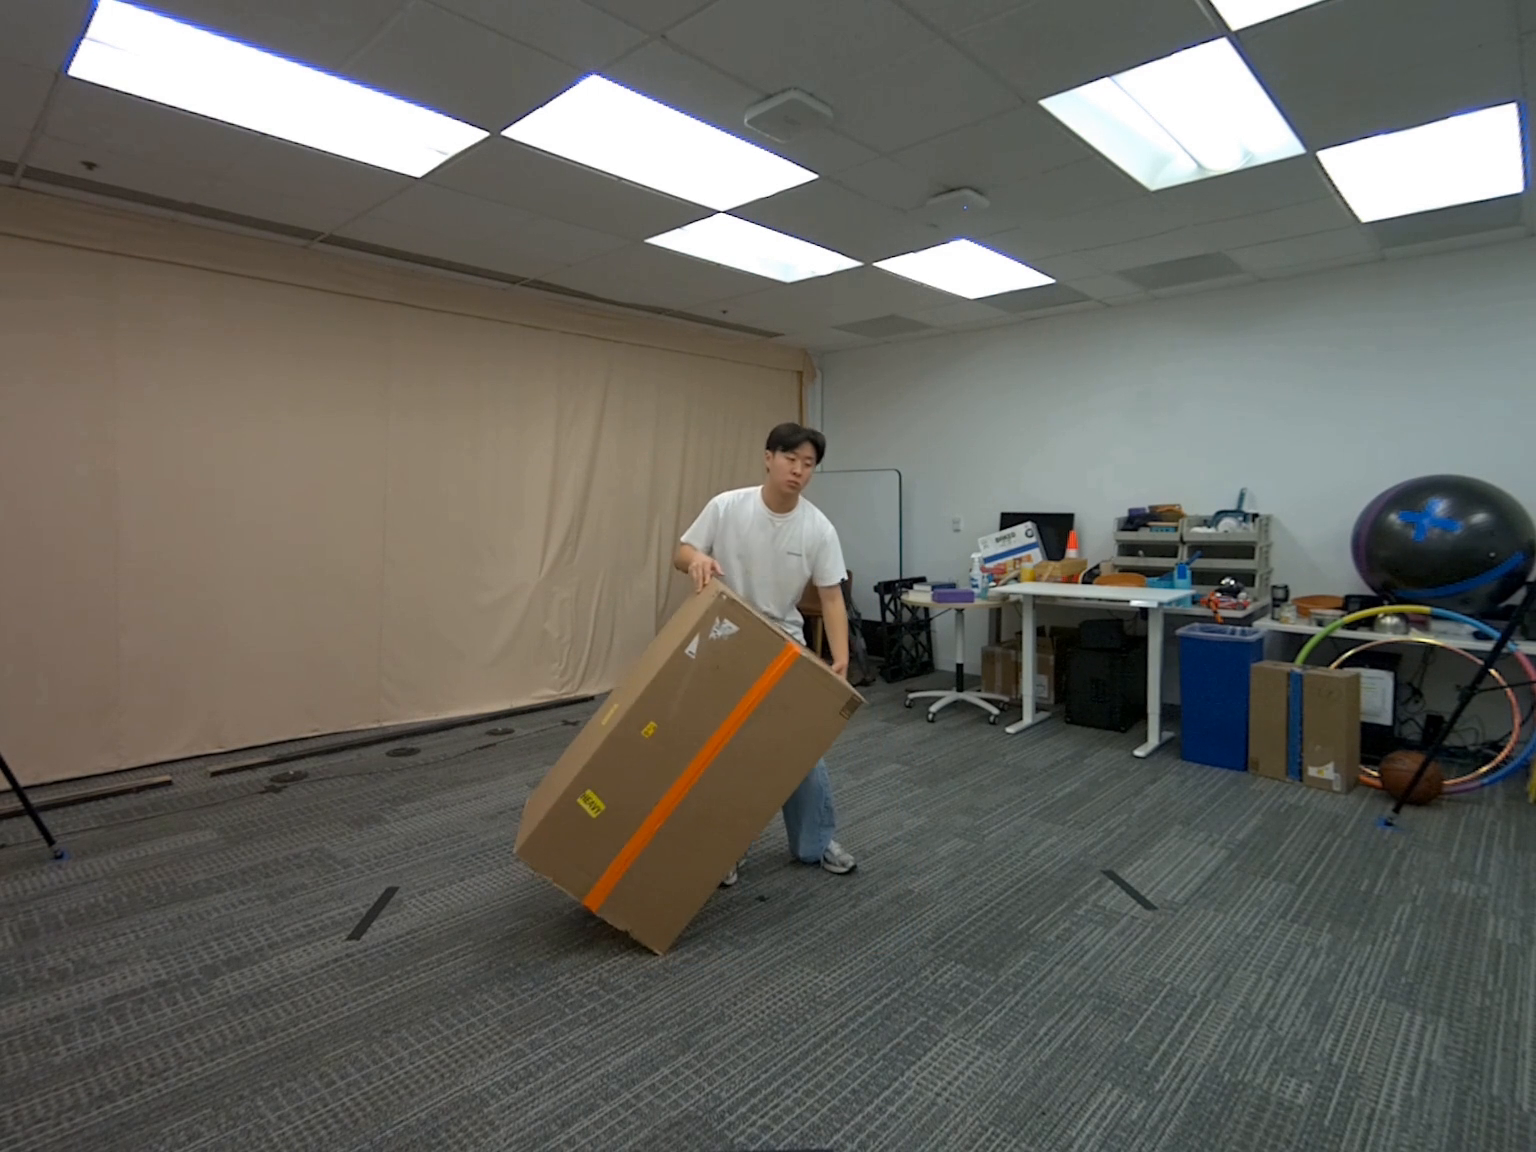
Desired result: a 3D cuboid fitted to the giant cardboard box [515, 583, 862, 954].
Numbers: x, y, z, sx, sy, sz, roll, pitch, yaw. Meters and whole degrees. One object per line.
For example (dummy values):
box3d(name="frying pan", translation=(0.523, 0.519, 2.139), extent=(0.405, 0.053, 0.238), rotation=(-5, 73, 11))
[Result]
box3d(name="giant cardboard box", translation=(-0.262, 0.589, 2.766), extent=(0.571, 1.026, 0.431), rotation=(39, 1, -10))
